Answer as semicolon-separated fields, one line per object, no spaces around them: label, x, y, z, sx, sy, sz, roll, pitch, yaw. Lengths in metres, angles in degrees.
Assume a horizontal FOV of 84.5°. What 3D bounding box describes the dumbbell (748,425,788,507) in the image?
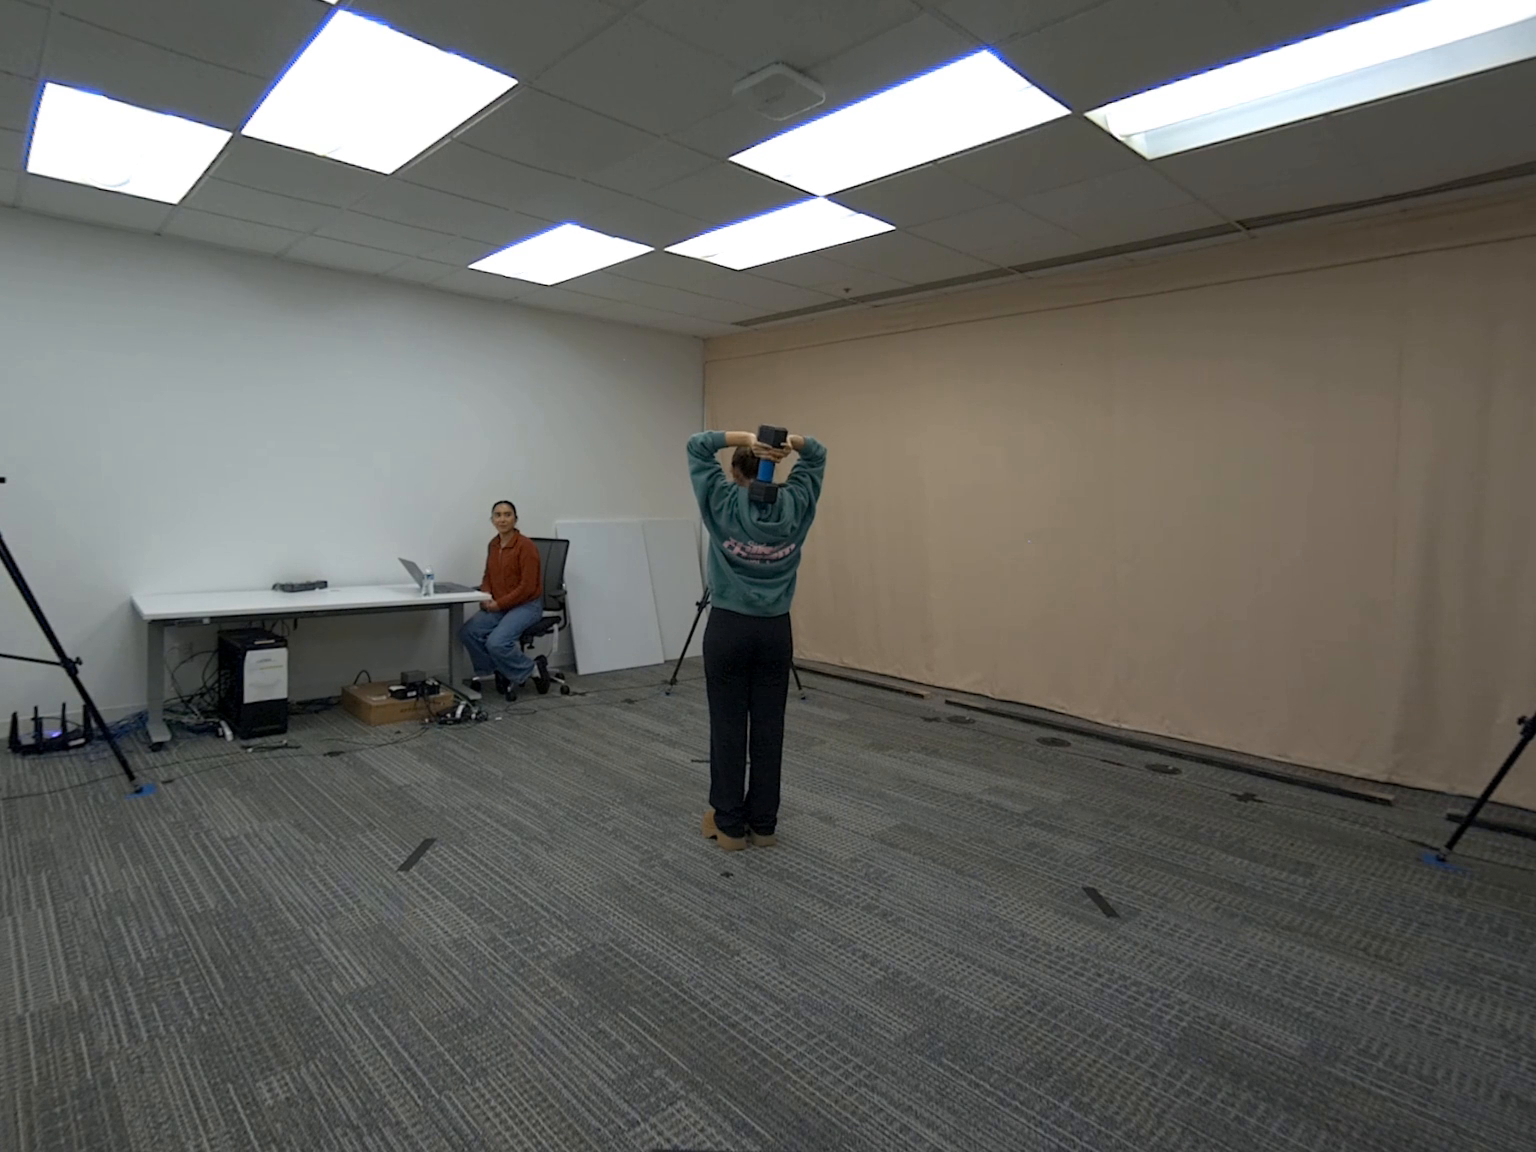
dumbbell;-0.009;-0.428;3.194;0.109;0.291;0.123;9;11;0
